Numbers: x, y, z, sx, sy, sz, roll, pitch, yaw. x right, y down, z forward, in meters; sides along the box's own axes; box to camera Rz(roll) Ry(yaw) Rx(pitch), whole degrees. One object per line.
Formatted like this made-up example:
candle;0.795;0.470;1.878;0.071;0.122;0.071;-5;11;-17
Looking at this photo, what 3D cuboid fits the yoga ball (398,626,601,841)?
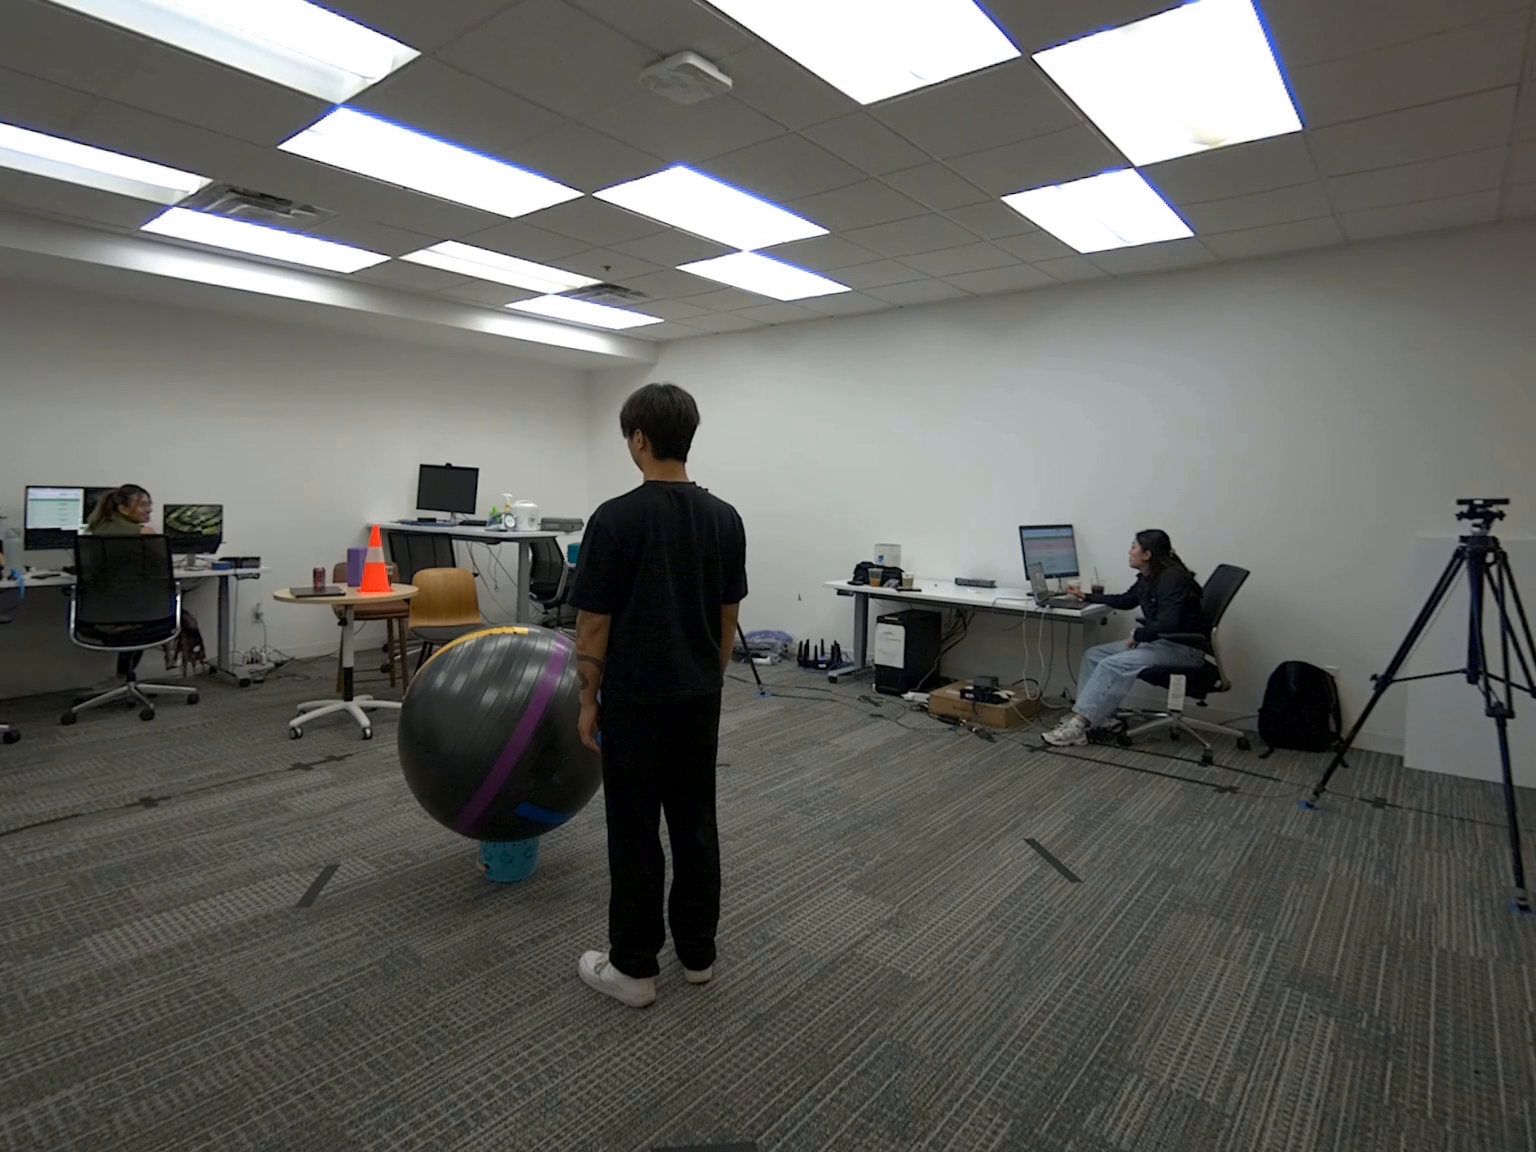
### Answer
yoga ball;-0.934;0.554;3.042;0.757;0.755;0.762;1;4;-2
